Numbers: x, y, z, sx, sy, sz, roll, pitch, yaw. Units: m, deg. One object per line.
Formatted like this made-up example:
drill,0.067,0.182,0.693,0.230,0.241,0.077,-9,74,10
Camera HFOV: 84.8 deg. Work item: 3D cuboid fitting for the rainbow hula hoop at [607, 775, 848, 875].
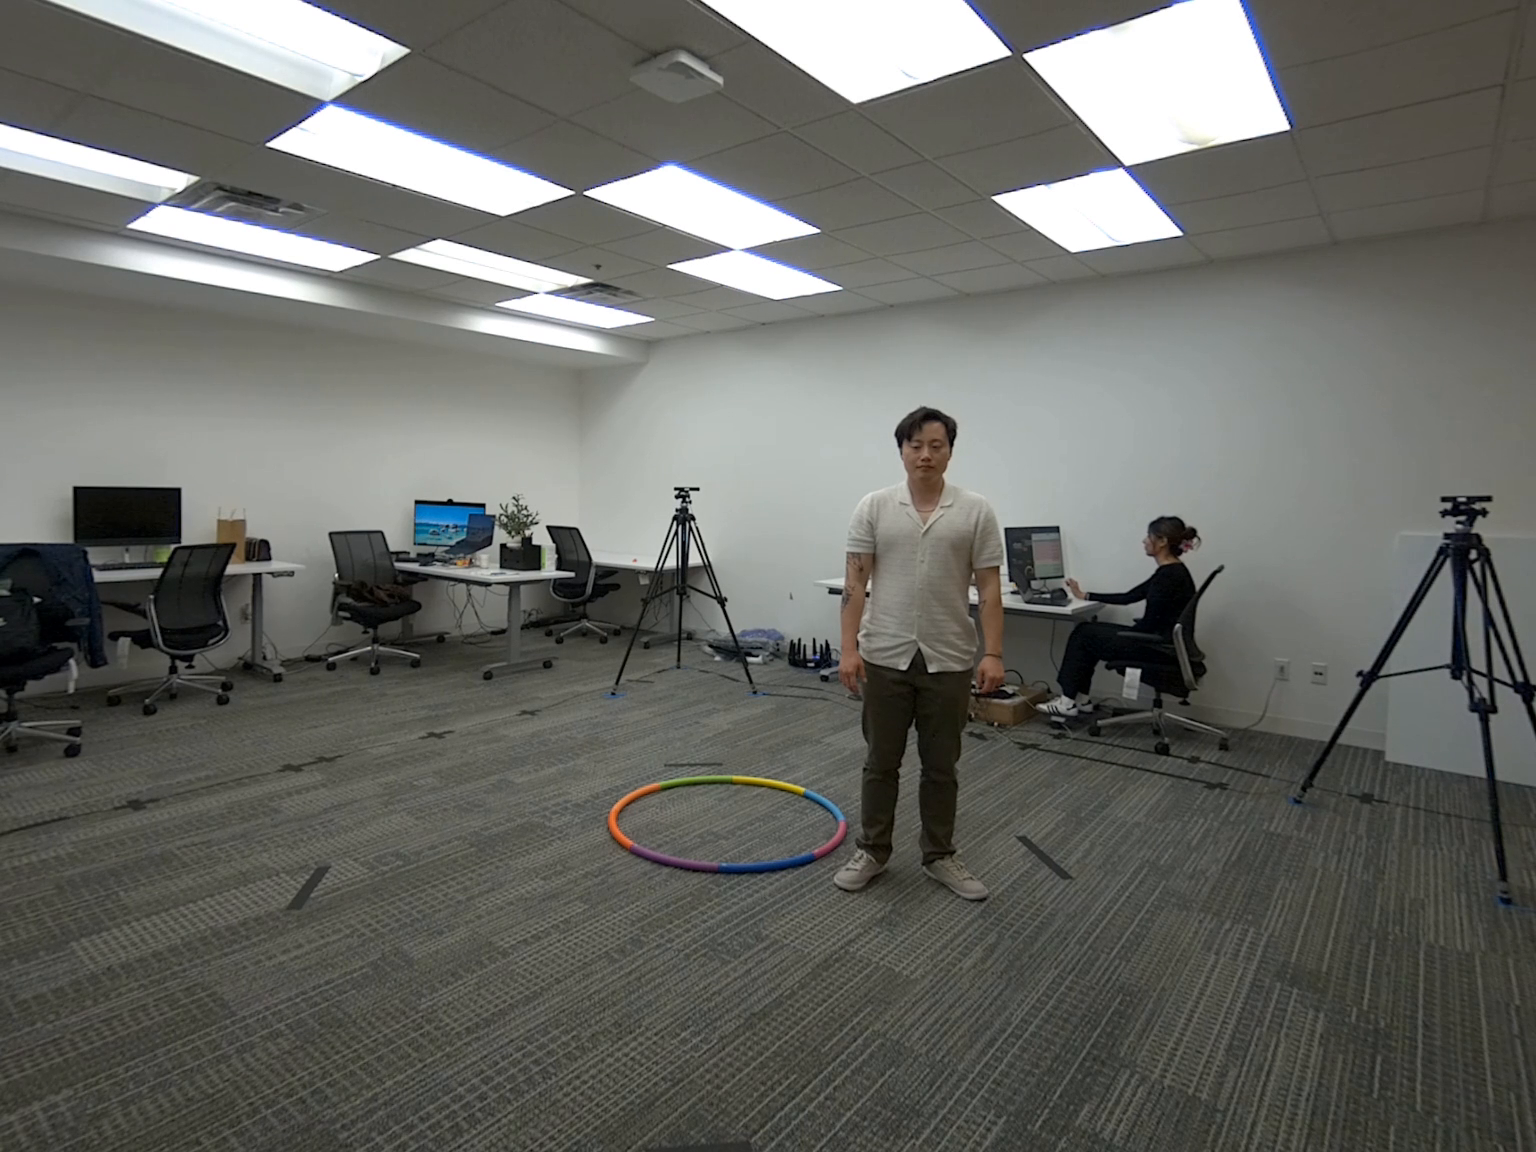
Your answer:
rainbow hula hoop,-0.182,0.993,3.546,0.978,0.035,0.984,1,6,-2
